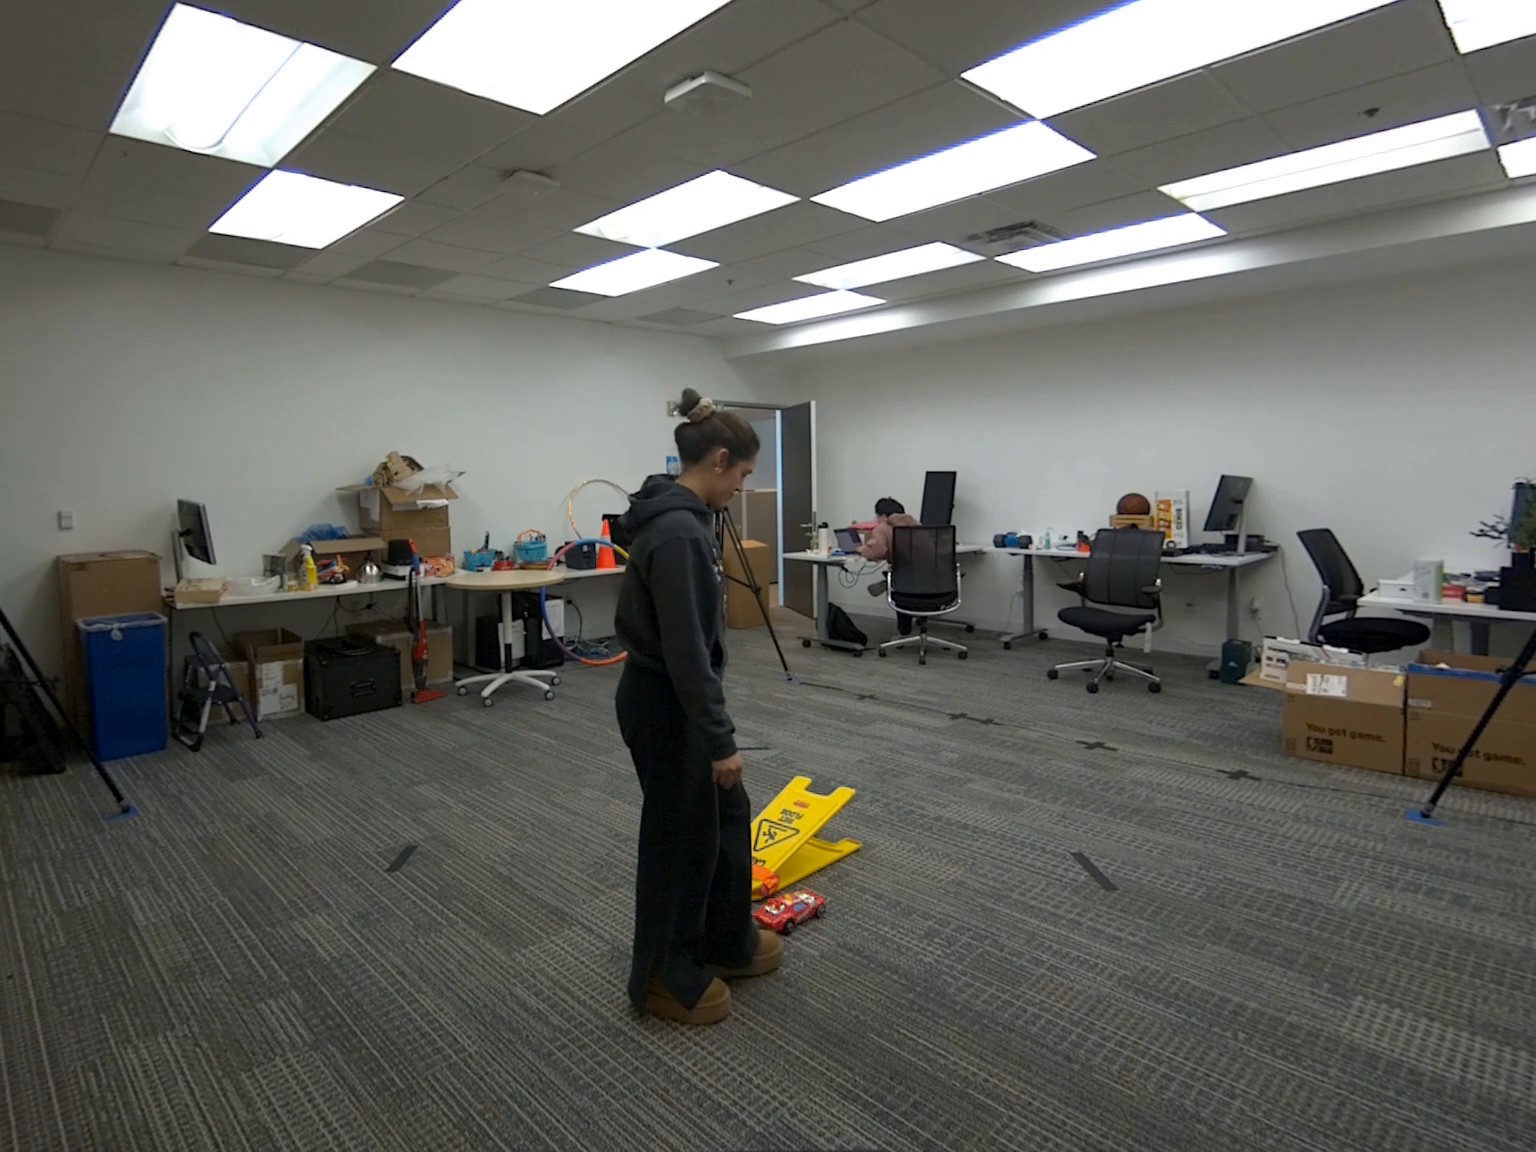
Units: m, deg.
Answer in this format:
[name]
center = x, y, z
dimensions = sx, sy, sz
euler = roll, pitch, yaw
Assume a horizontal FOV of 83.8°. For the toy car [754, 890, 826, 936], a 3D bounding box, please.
[toy car]
center = 0.065, 1.060, 2.681
dimensions = 0.246, 0.083, 0.134
euler = 8, -1, -41
